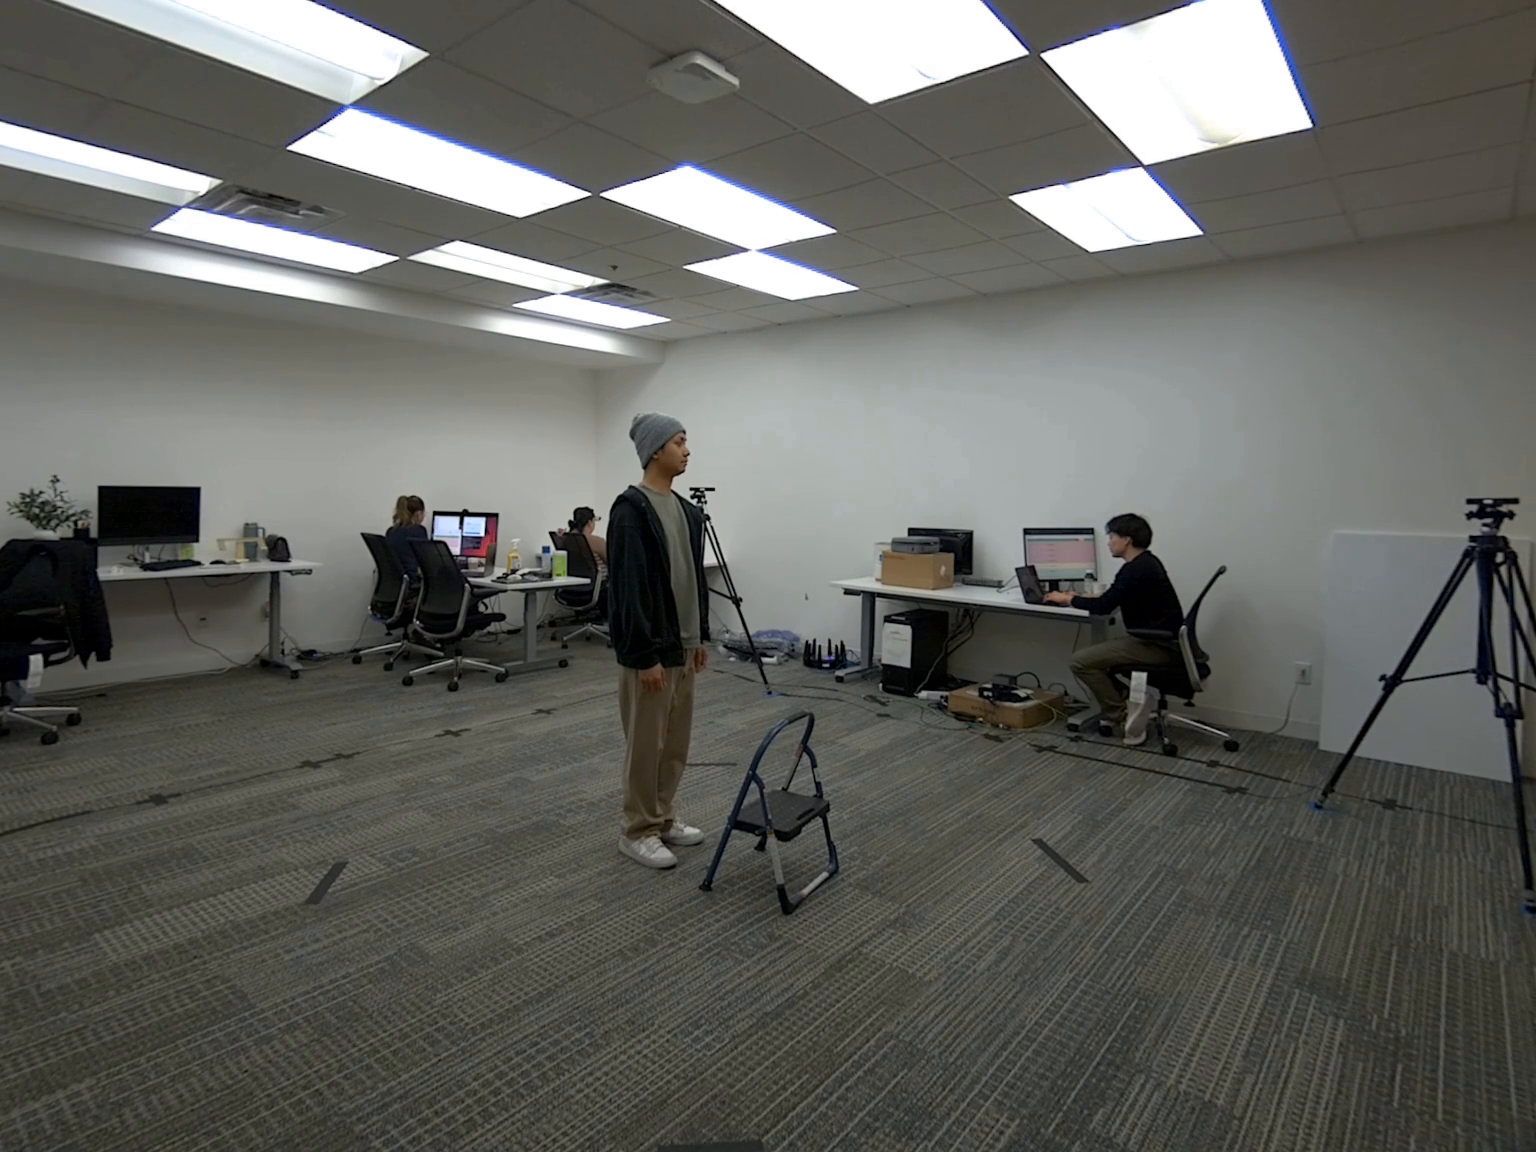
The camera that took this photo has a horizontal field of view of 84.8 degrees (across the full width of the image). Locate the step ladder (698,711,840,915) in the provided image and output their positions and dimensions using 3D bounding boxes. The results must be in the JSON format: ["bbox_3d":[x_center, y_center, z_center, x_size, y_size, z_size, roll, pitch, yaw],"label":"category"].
[{"bbox_3d":[0.014,0.777,3.016,0.359,0.604,0.420,3,4,29],"label":"step ladder"}]
